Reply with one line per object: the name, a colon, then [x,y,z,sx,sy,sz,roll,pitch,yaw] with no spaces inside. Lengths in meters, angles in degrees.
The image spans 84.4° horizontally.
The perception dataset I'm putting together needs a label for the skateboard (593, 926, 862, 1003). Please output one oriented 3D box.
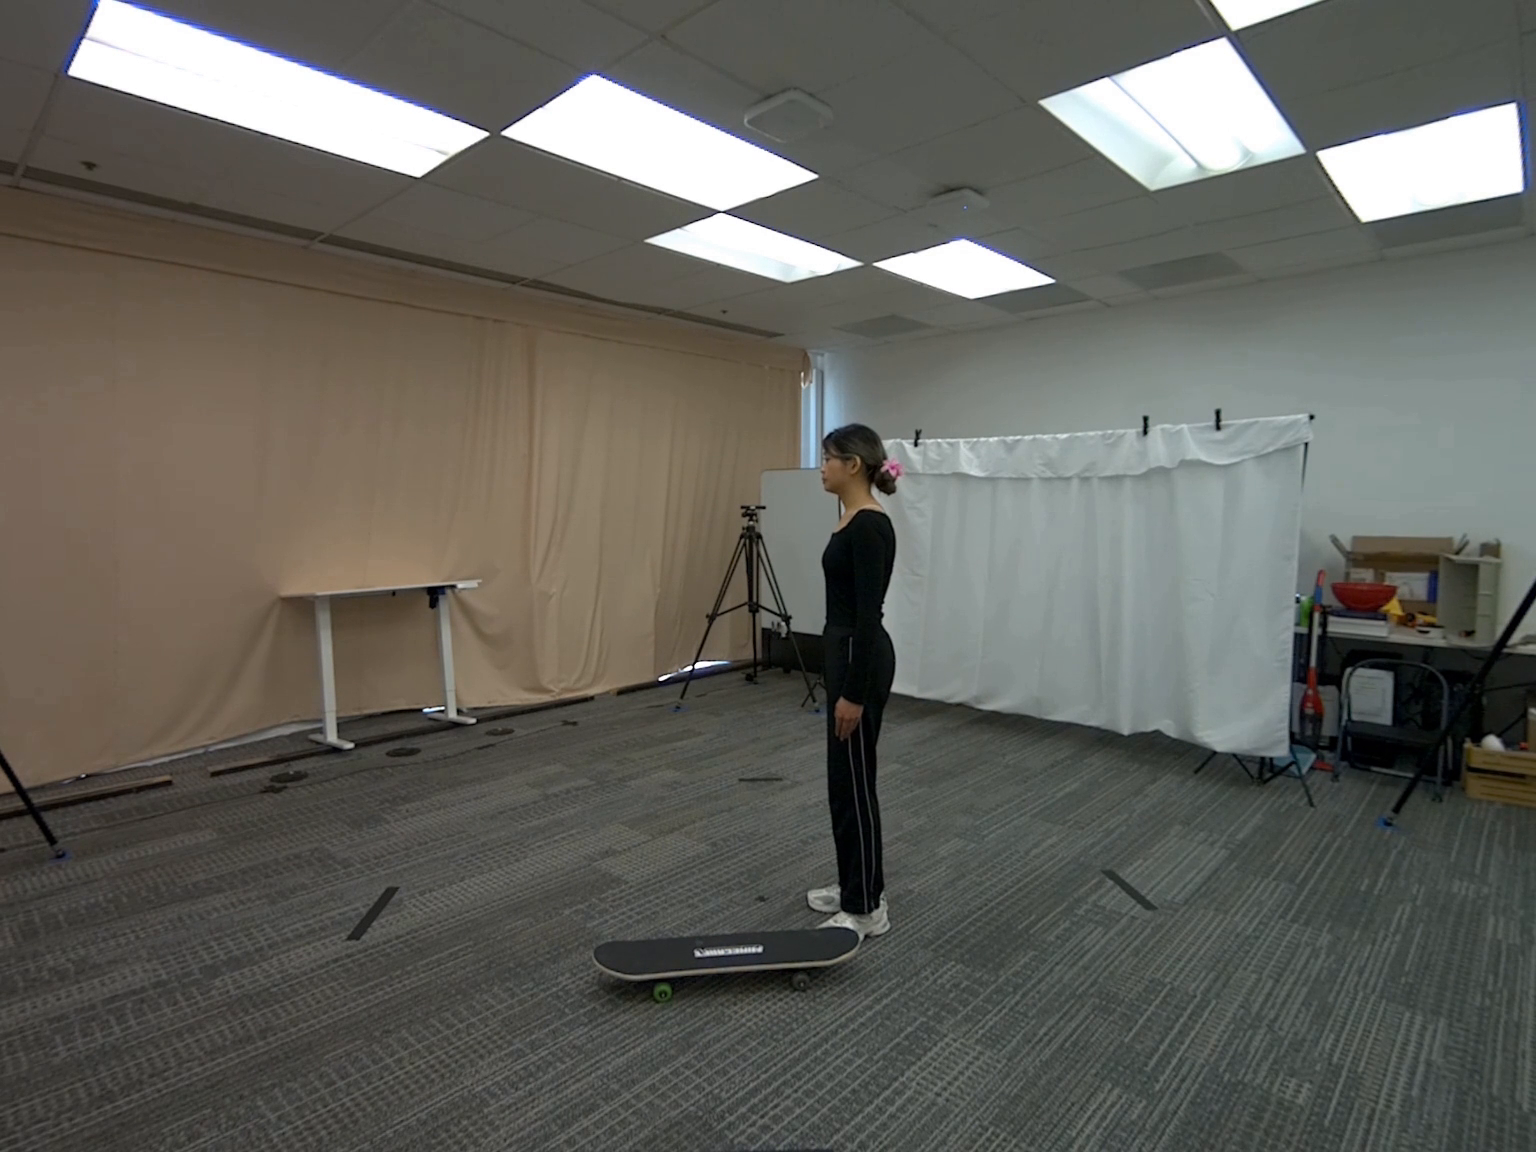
skateboard: [-0.111,1.134,2.463,0.780,0.110,0.195,-1,4,-7]
